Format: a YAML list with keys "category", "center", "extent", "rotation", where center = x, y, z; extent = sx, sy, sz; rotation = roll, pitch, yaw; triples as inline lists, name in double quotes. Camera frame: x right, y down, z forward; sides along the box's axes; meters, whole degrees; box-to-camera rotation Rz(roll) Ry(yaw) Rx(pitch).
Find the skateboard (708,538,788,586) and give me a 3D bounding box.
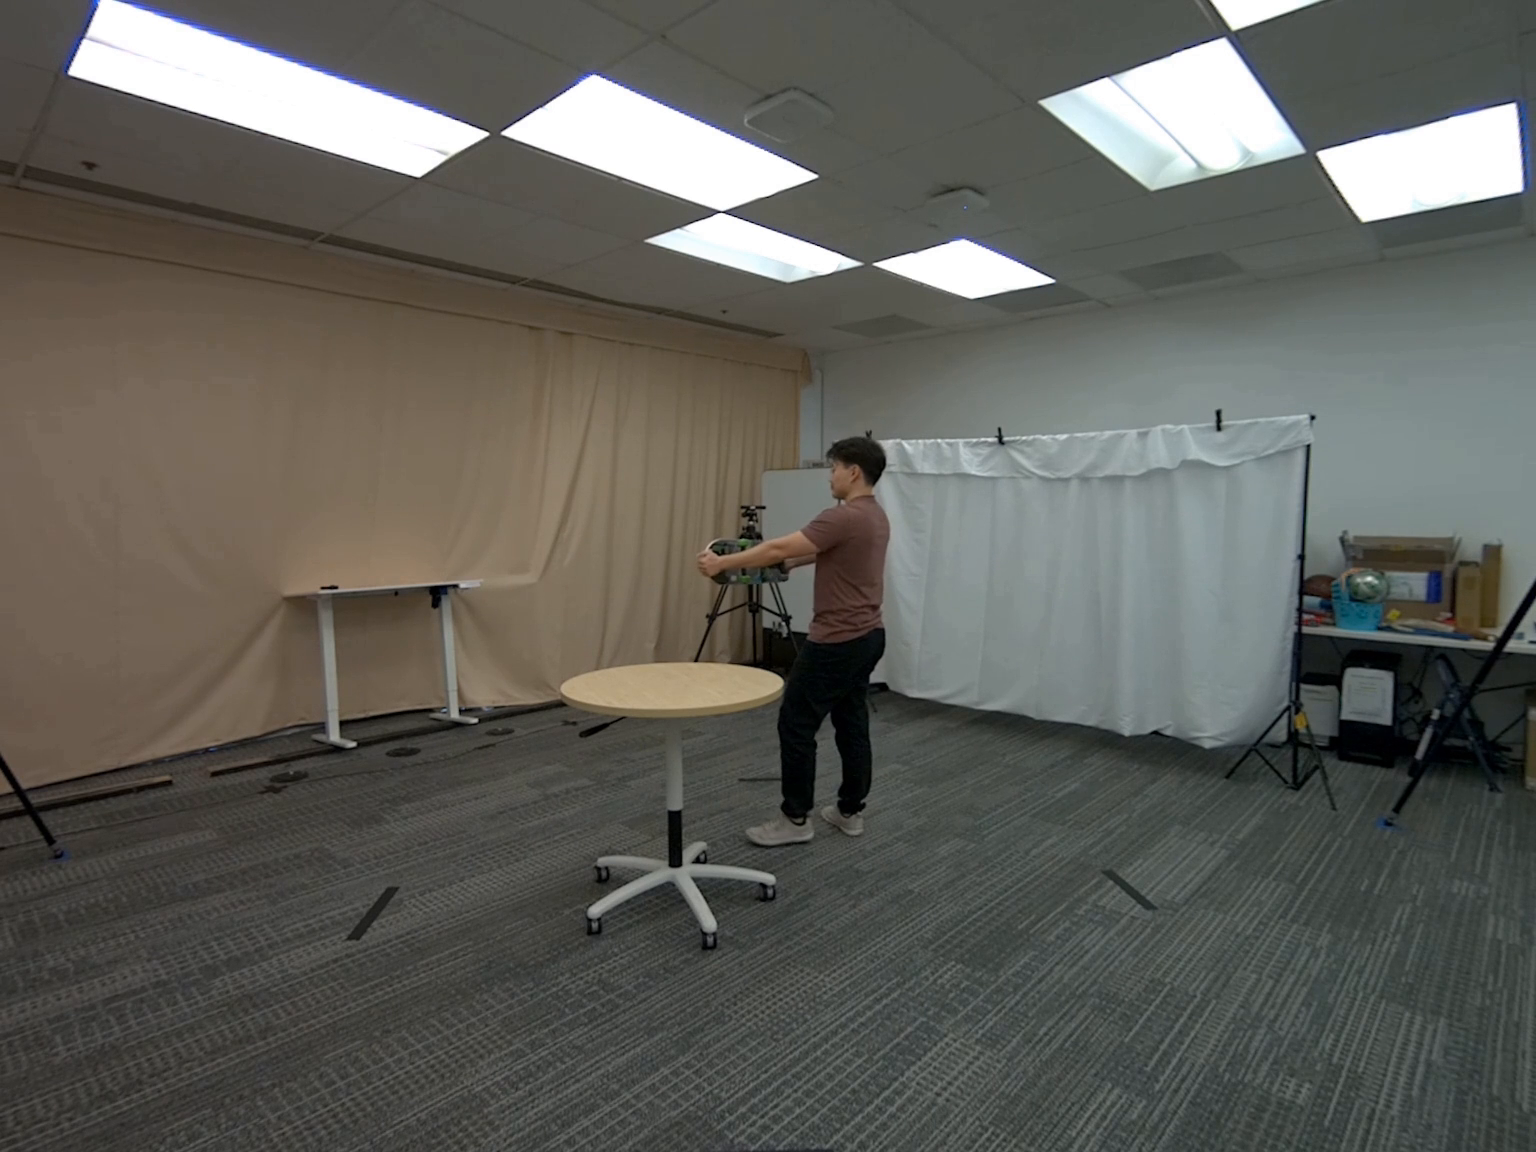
- category: "skateboard"
  center: [-0.048, -0.059, 3.729]
  extent: [0.113, 0.194, 0.764]
  rotation: [-5, -2, 26]
